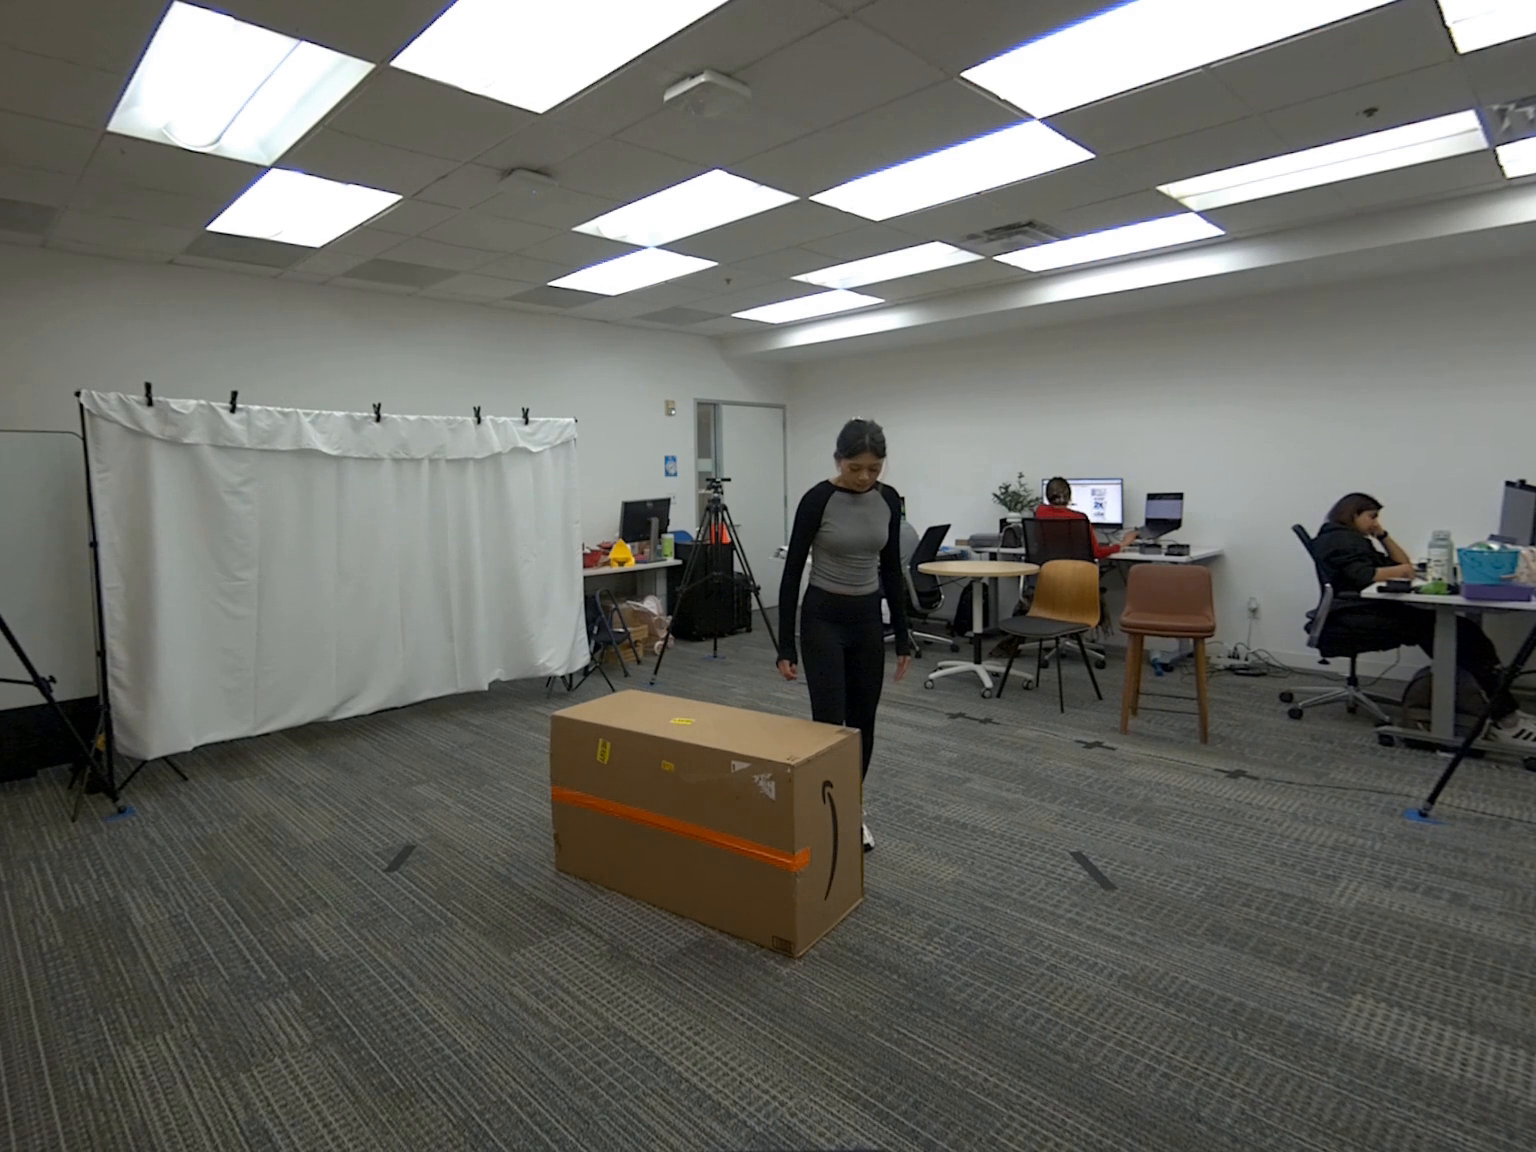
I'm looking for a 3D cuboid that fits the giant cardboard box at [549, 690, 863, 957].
[{"bbox_3d":[-0.235,0.781,2.922,1.056,0.576,0.415,3,5,36],"label":"giant cardboard box"}]
